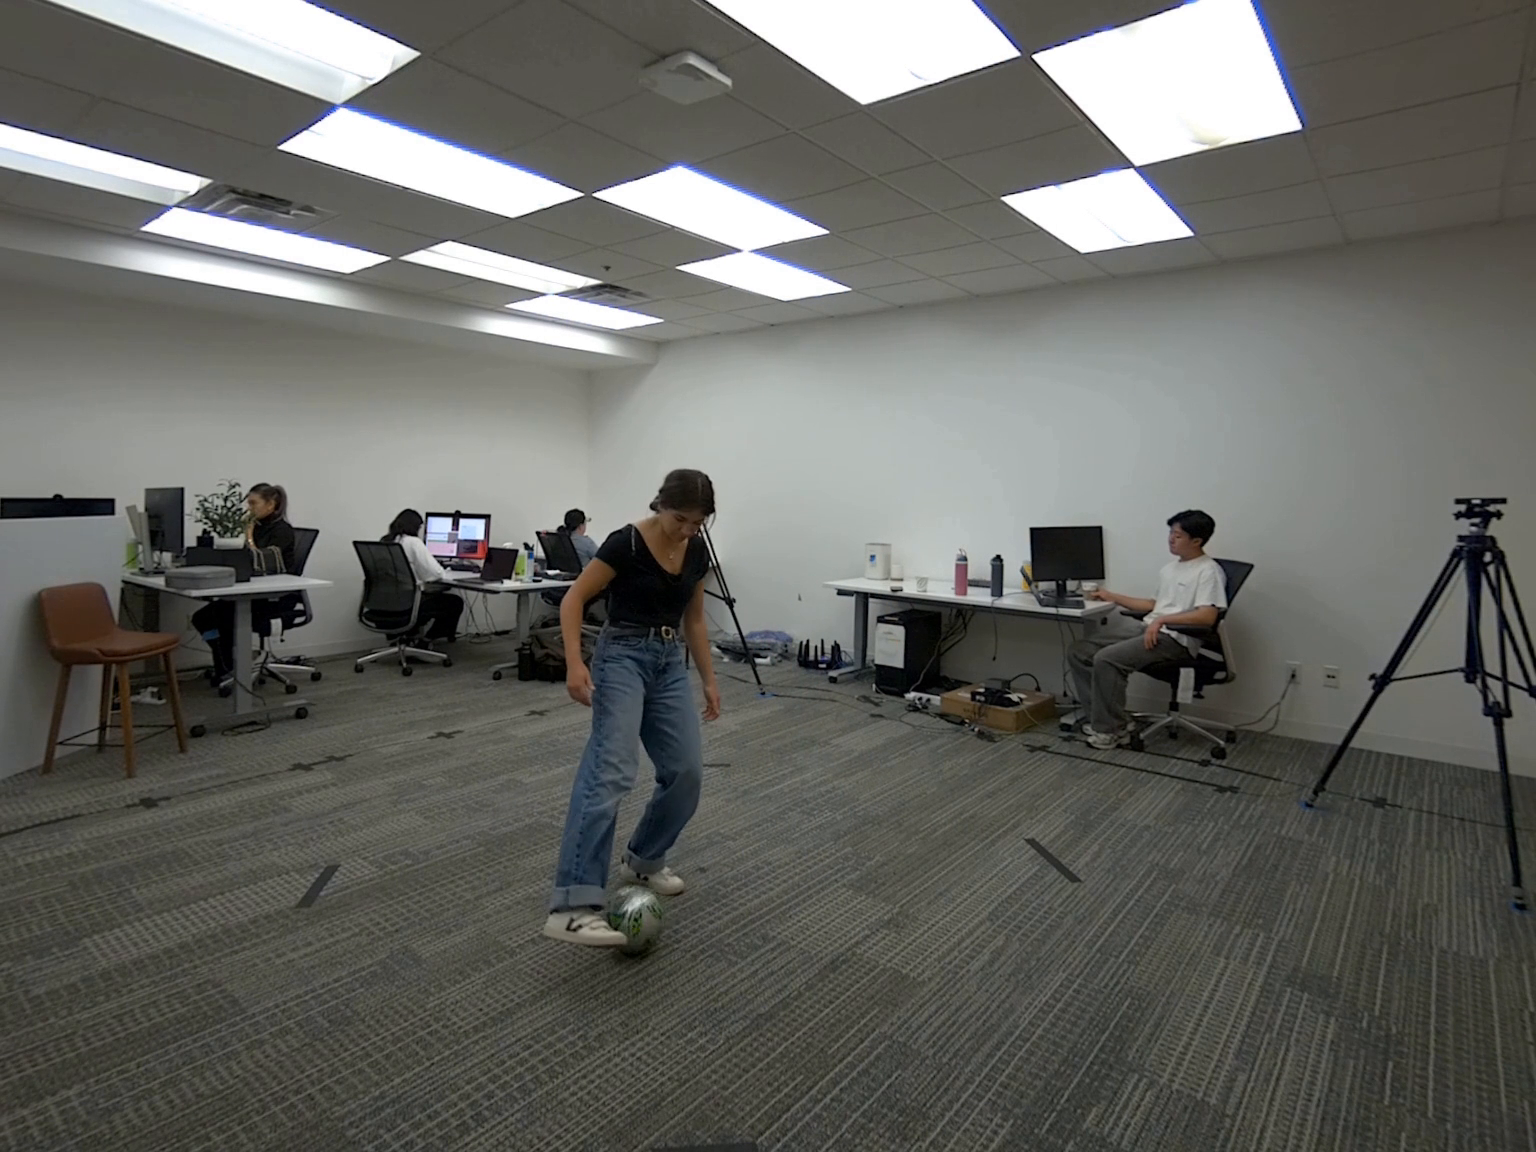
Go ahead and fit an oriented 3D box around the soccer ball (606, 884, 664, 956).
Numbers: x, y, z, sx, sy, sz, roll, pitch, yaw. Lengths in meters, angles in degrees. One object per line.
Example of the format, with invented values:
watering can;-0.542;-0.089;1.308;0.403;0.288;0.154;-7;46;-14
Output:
soccer ball;-0.403;1.025;2.572;0.187;0.187;0.188;1;4;-2
